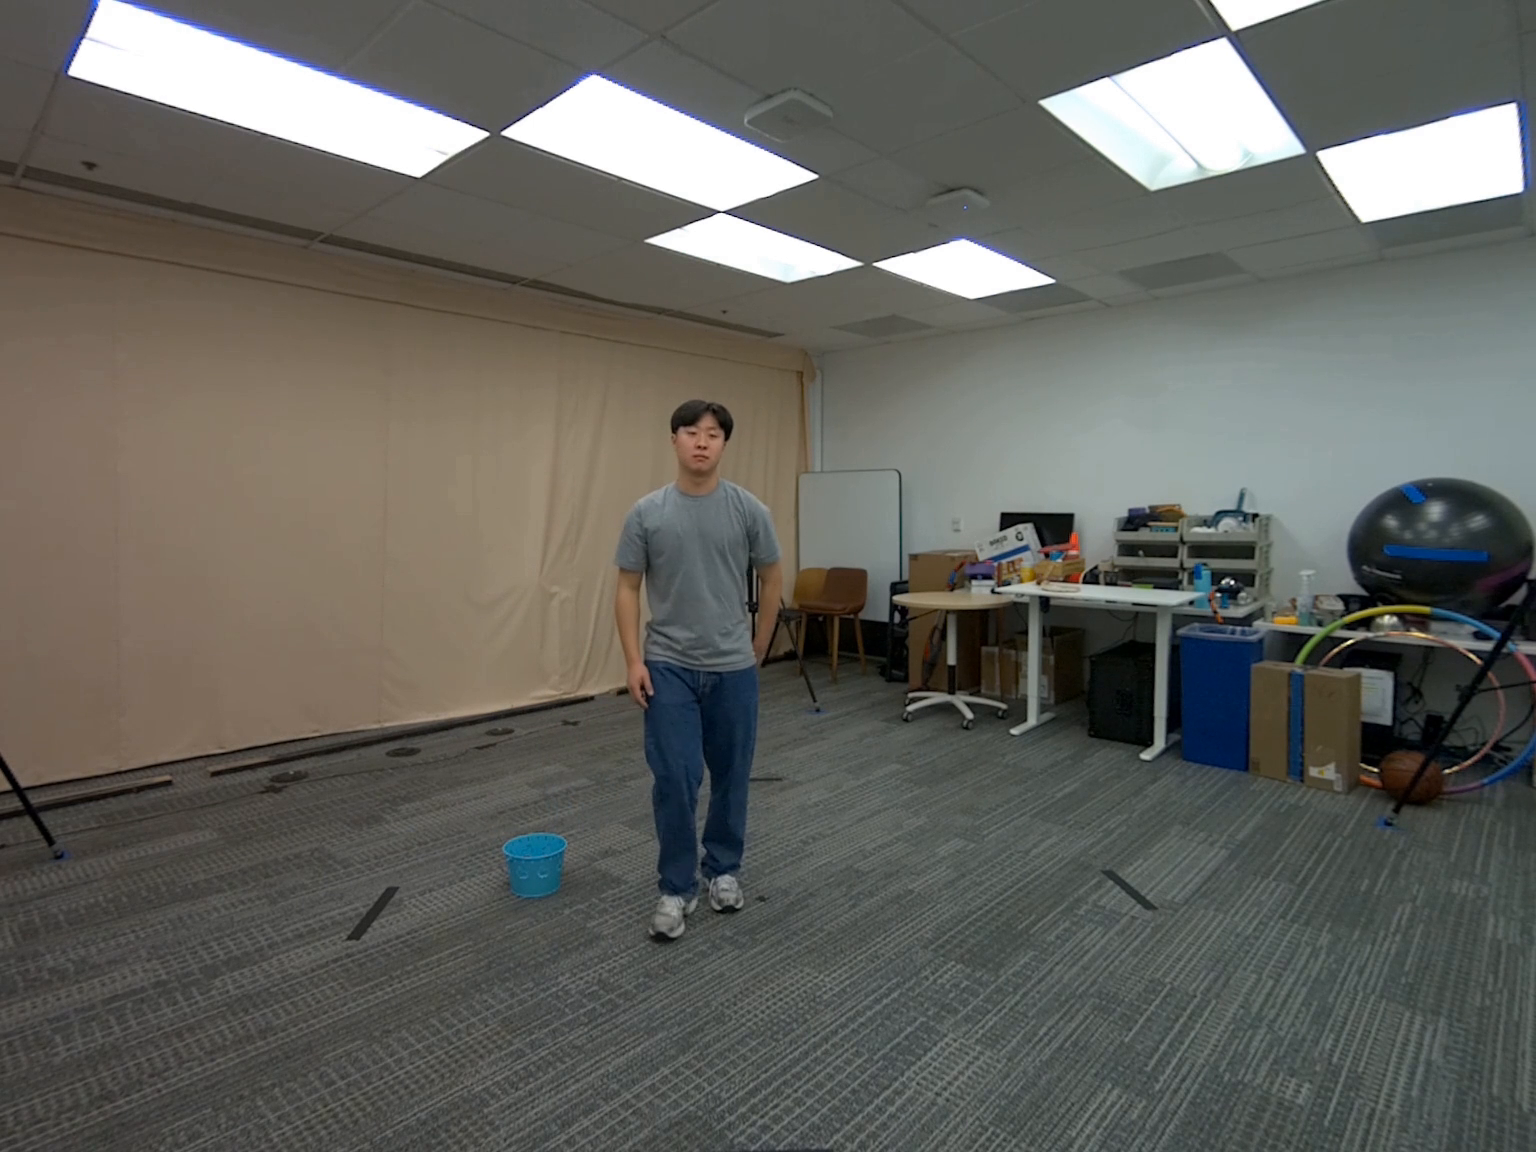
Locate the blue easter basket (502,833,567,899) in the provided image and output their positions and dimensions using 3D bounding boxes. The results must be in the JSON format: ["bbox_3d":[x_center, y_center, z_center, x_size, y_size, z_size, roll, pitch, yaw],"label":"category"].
[{"bbox_3d":[-0.853,1.063,3.104,0.243,0.155,0.244,-1,4,-2],"label":"blue easter basket"}]
